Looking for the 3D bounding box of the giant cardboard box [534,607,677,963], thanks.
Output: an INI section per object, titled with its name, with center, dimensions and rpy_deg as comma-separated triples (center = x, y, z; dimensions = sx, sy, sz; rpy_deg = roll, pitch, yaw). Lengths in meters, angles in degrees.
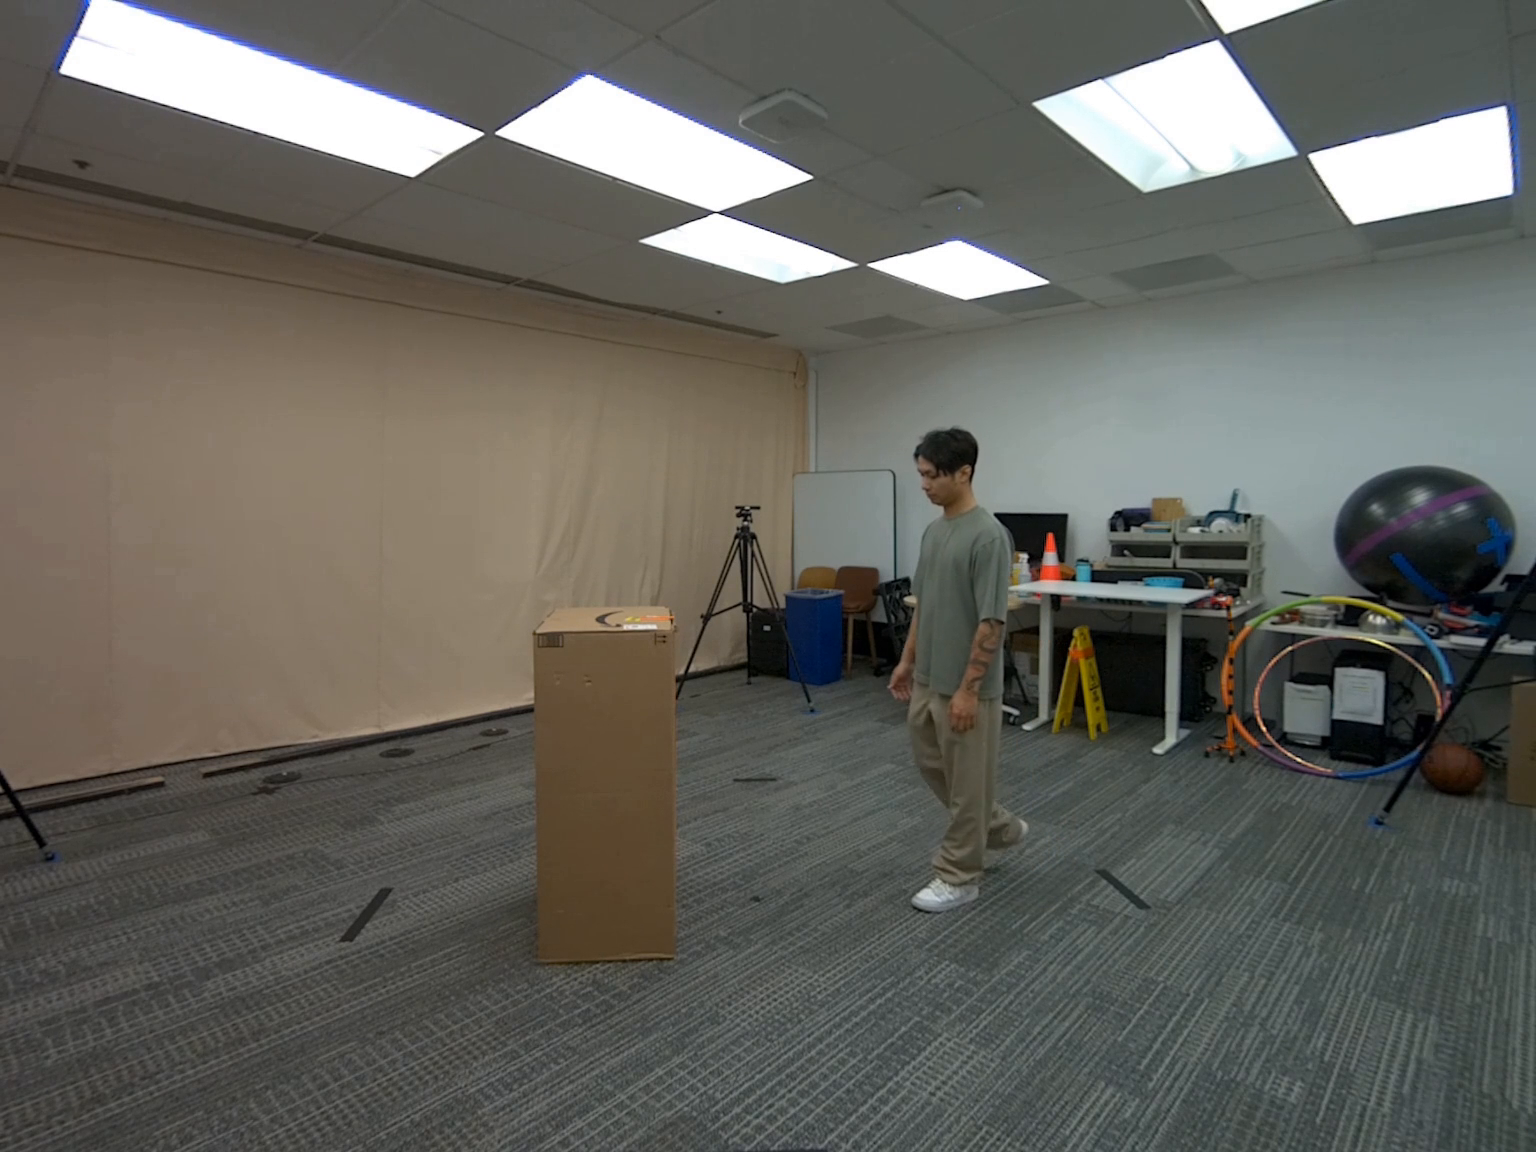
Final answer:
[giant cardboard box]
center = -0.530, 0.655, 2.836
dimensions = 0.423, 1.024, 0.582
rpy_deg = -1, 3, -7
